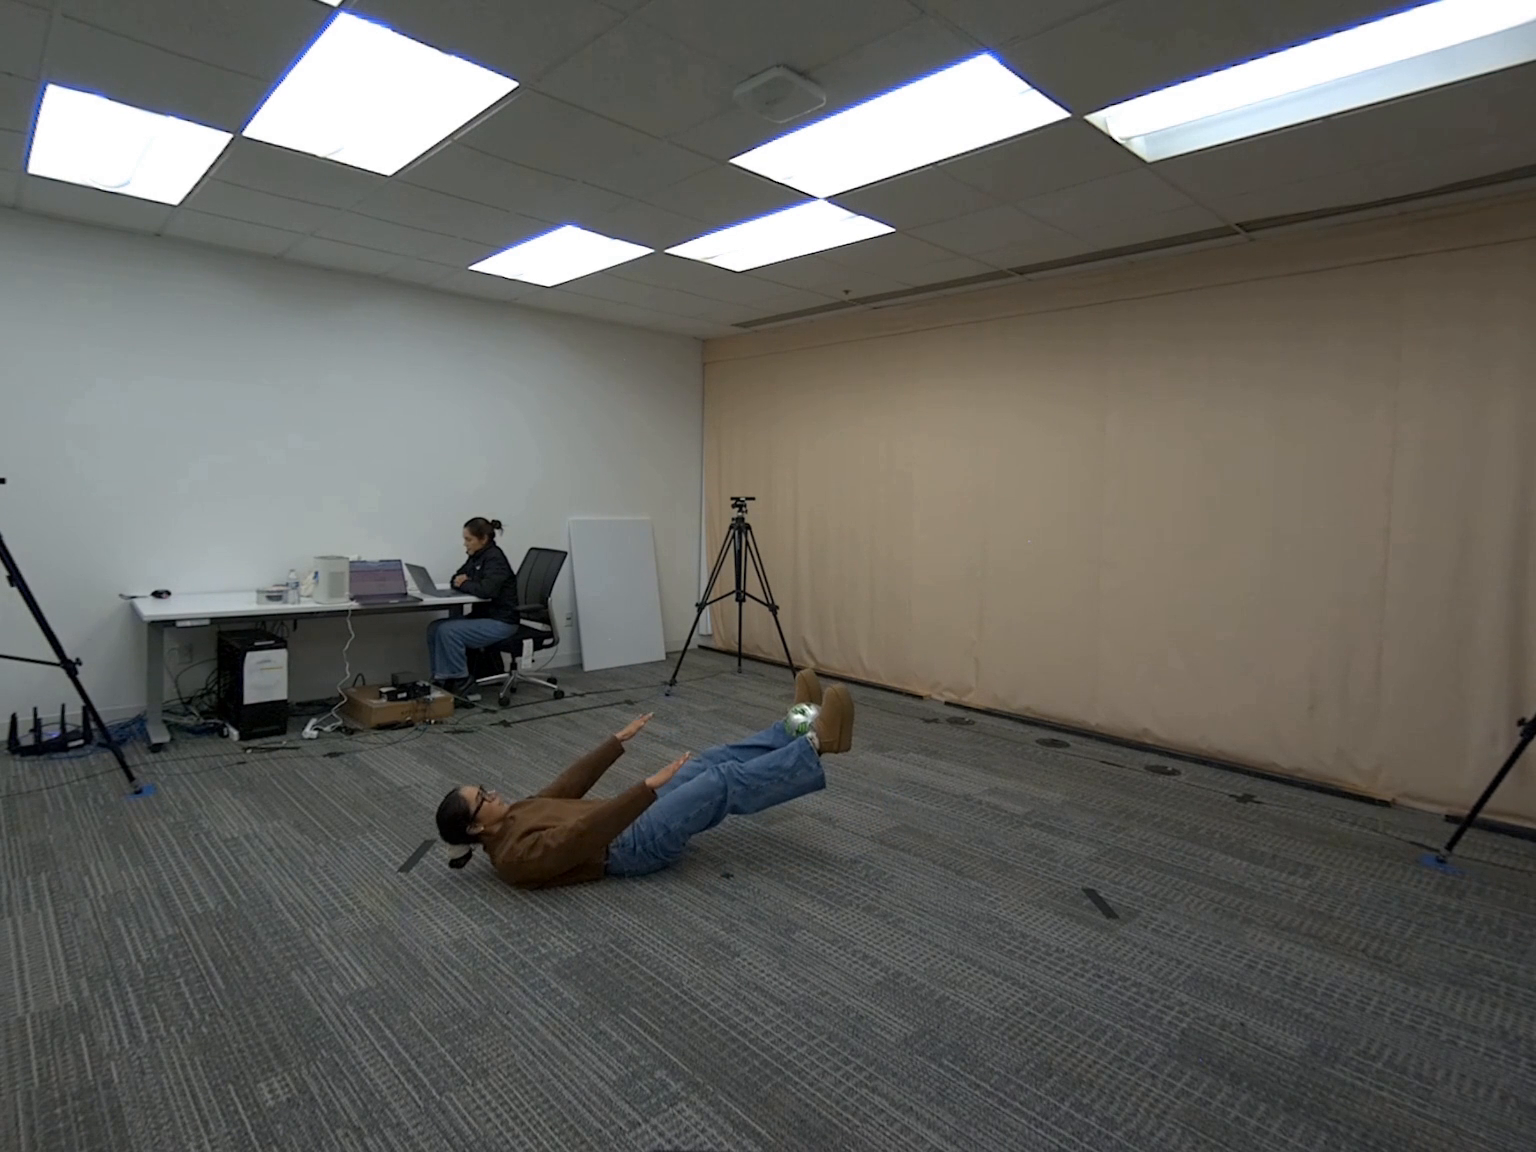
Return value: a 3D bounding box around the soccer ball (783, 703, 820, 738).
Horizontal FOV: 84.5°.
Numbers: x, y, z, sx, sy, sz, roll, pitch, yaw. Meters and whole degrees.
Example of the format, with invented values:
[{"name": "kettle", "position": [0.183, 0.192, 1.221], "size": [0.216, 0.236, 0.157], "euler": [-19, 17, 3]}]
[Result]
[{"name": "soccer ball", "position": [0.144, 0.609, 3.402], "size": [0.187, 0.187, 0.188], "euler": [1, 4, -1]}]
